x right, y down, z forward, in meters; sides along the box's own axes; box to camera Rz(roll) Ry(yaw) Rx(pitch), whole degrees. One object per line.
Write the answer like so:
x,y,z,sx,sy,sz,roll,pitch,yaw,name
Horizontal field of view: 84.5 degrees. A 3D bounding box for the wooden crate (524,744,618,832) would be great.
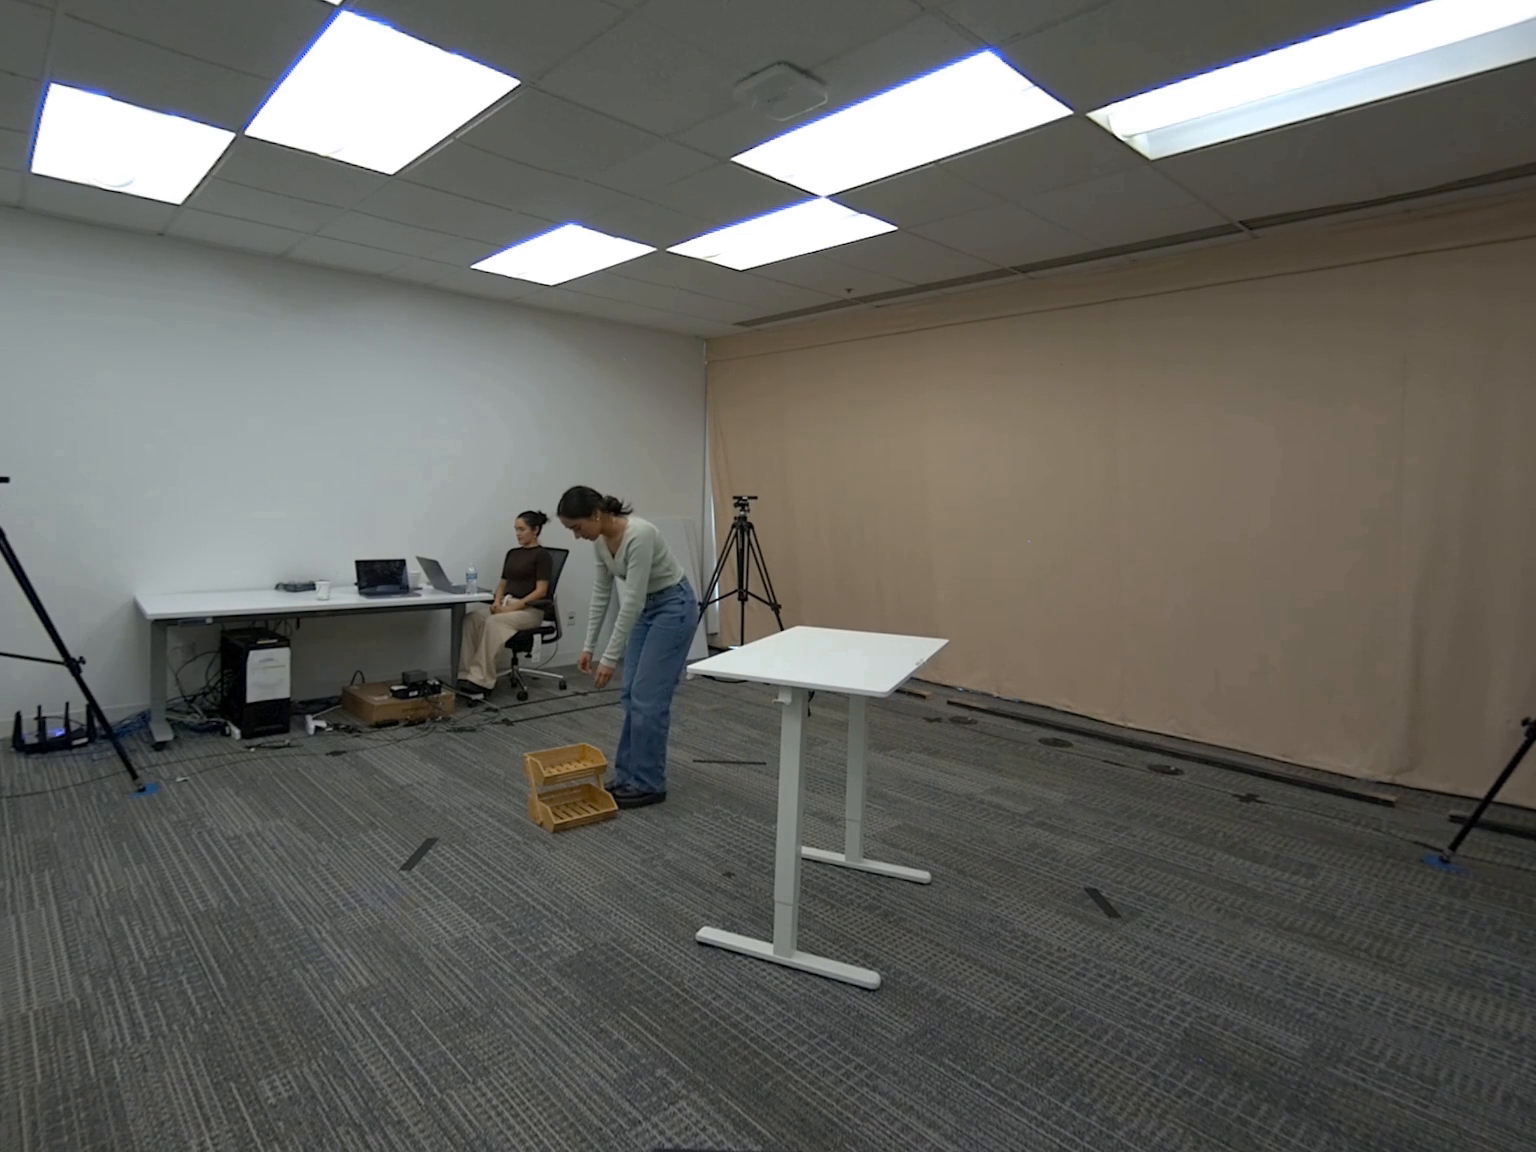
-0.864,0.904,3.635,0.317,0.273,0.309,-2,4,-40,wooden crate
